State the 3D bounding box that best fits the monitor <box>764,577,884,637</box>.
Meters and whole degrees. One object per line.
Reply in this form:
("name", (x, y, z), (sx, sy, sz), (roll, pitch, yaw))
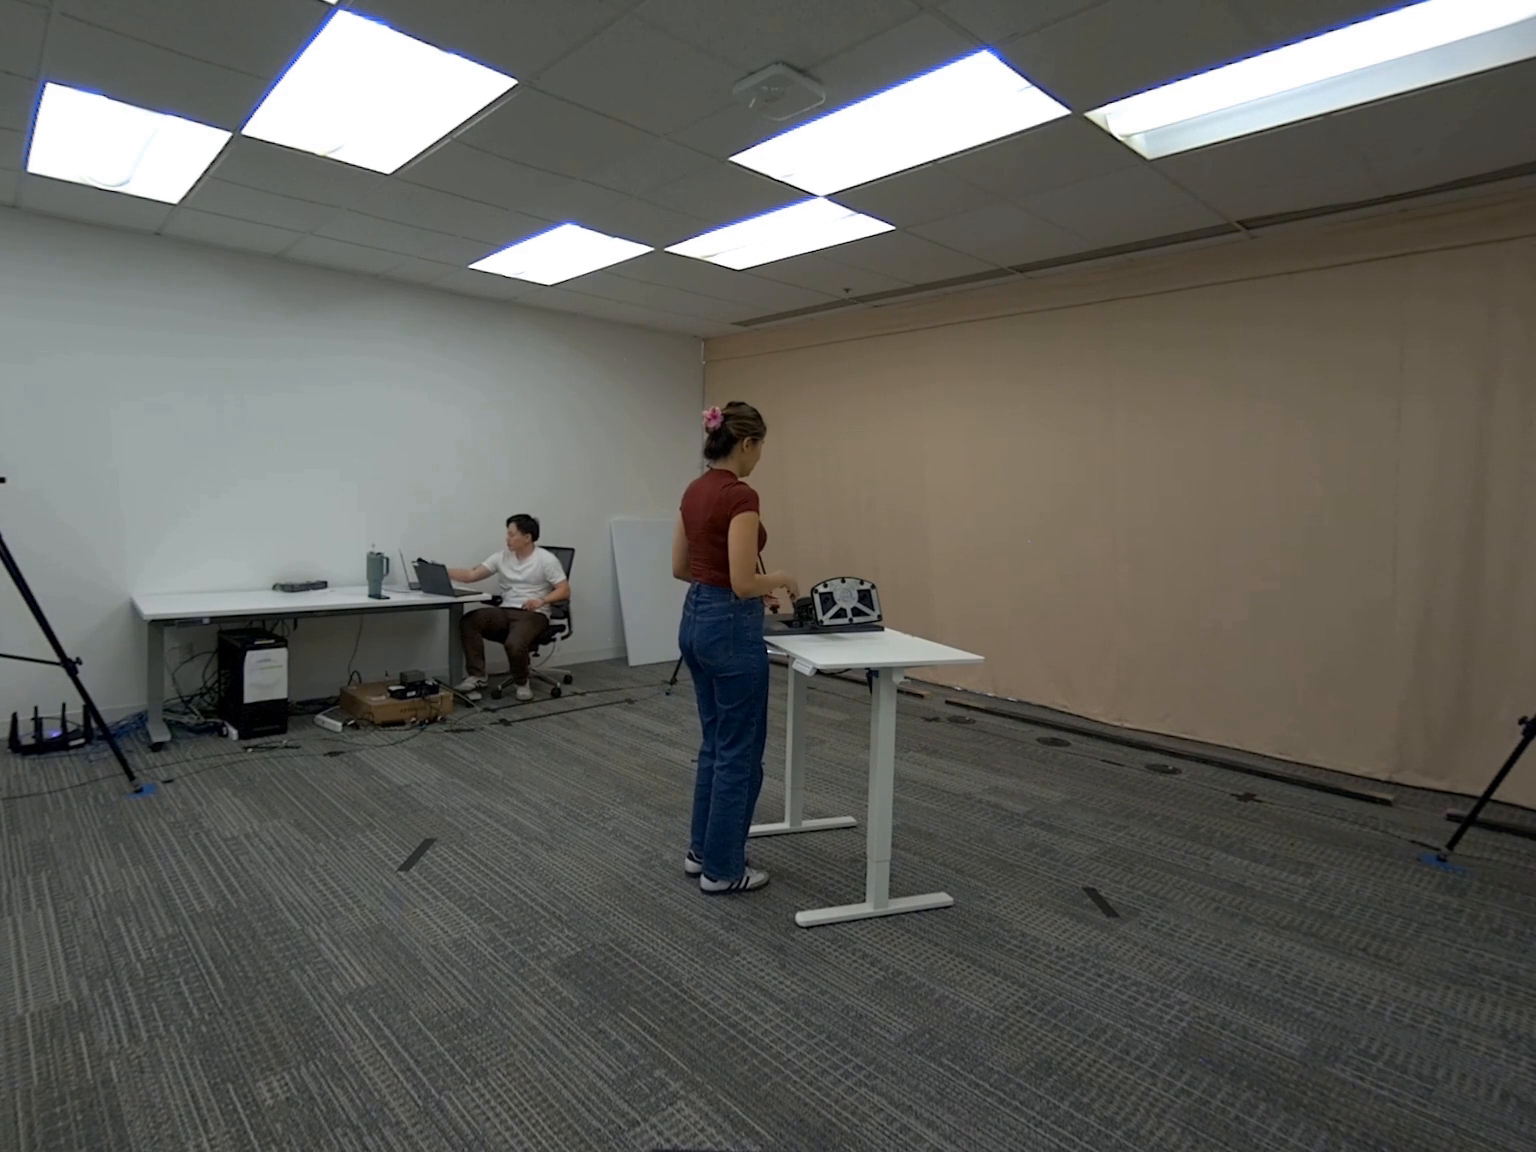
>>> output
("monitor", (0.173, 0.151, 3.297), (0.530, 0.189, 0.526), (0, -13, -24))
